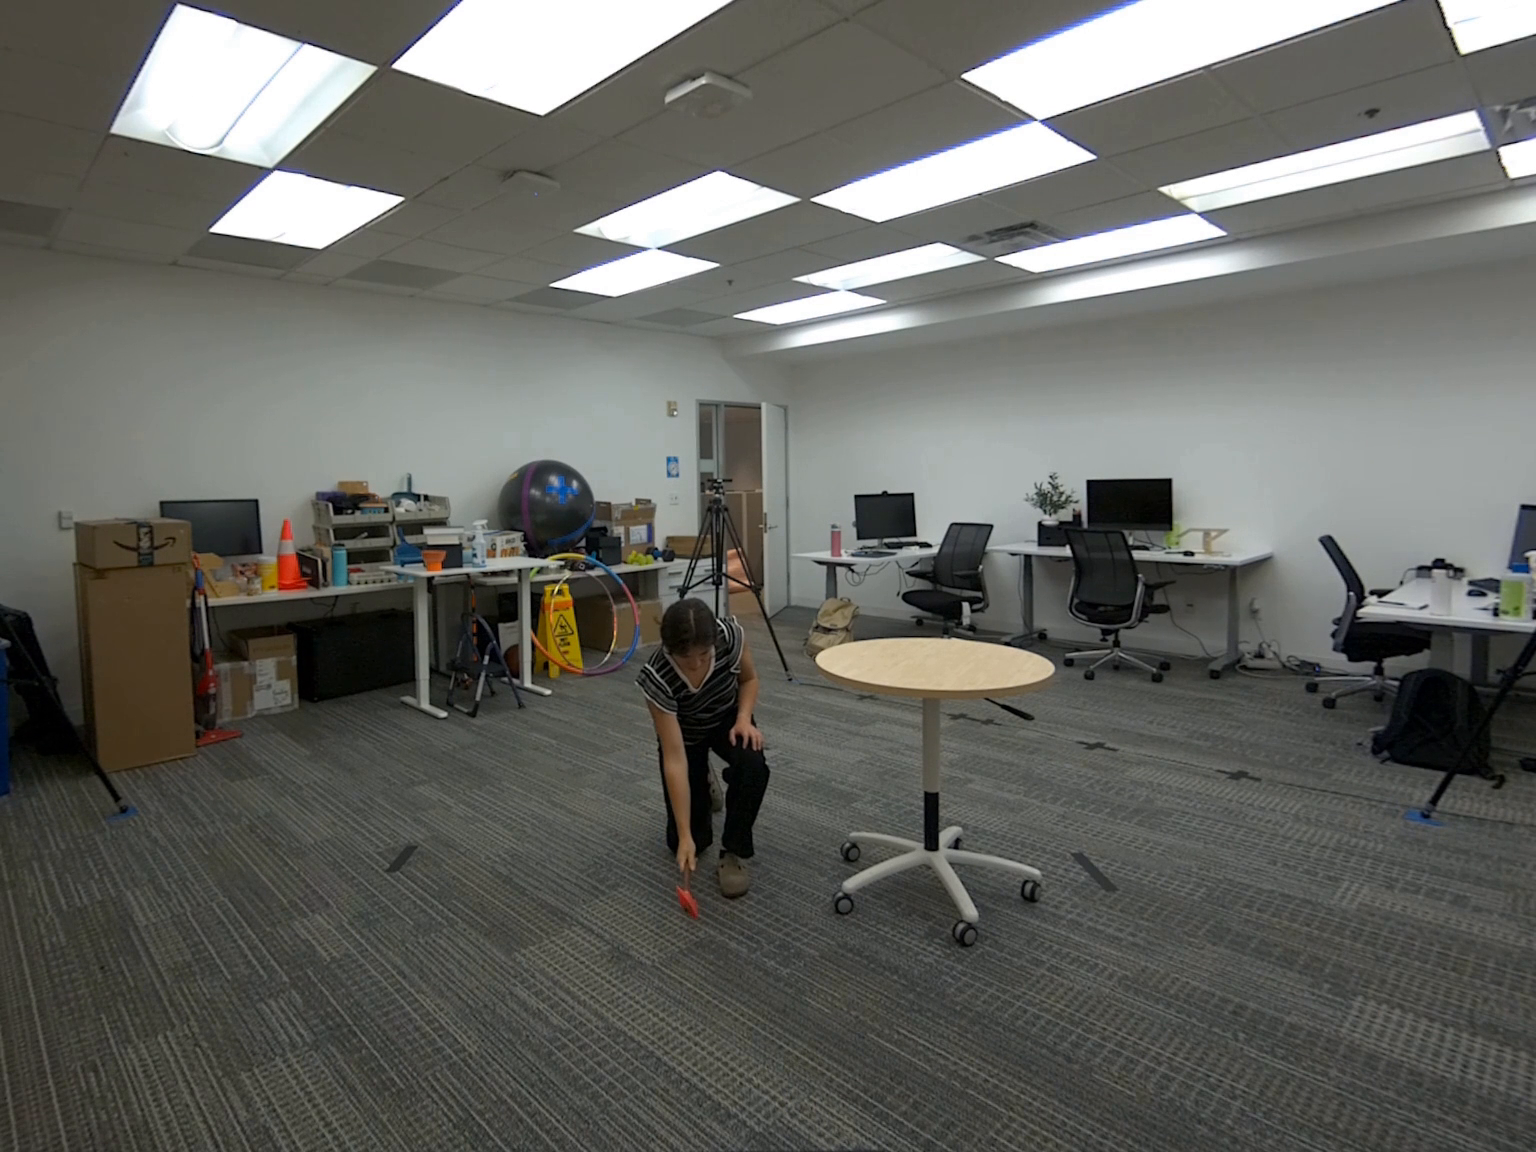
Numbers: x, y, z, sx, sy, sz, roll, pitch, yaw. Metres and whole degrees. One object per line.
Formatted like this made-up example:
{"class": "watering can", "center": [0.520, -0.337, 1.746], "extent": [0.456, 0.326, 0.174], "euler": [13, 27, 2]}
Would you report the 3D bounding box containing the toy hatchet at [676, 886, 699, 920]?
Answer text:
{"class": "toy hatchet", "center": [-0.233, 0.976, 2.678], "extent": [0.030, 0.130, 0.270], "euler": [-26, 4, 7]}
